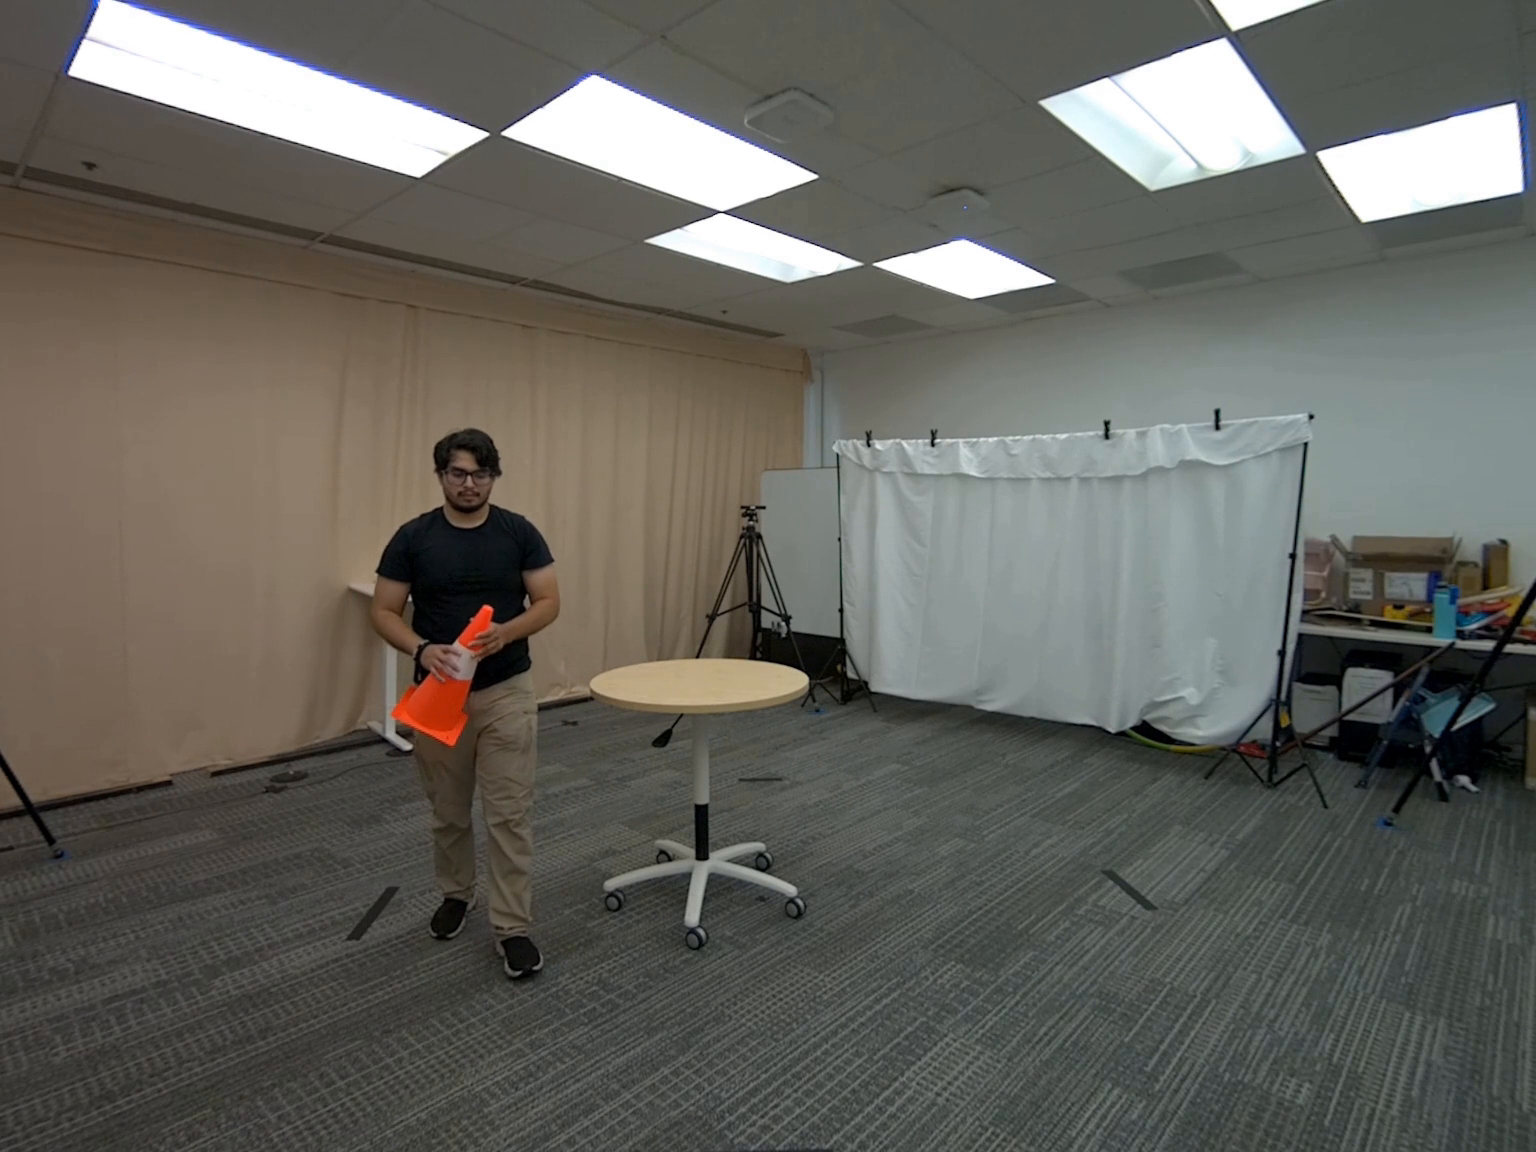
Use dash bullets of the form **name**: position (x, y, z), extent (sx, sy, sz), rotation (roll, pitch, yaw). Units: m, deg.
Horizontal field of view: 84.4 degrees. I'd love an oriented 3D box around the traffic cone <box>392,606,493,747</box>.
- **traffic cone**: position (-0.890, 0.252, 2.424), extent (0.200, 0.384, 0.208), rotation (29, 13, -12)
